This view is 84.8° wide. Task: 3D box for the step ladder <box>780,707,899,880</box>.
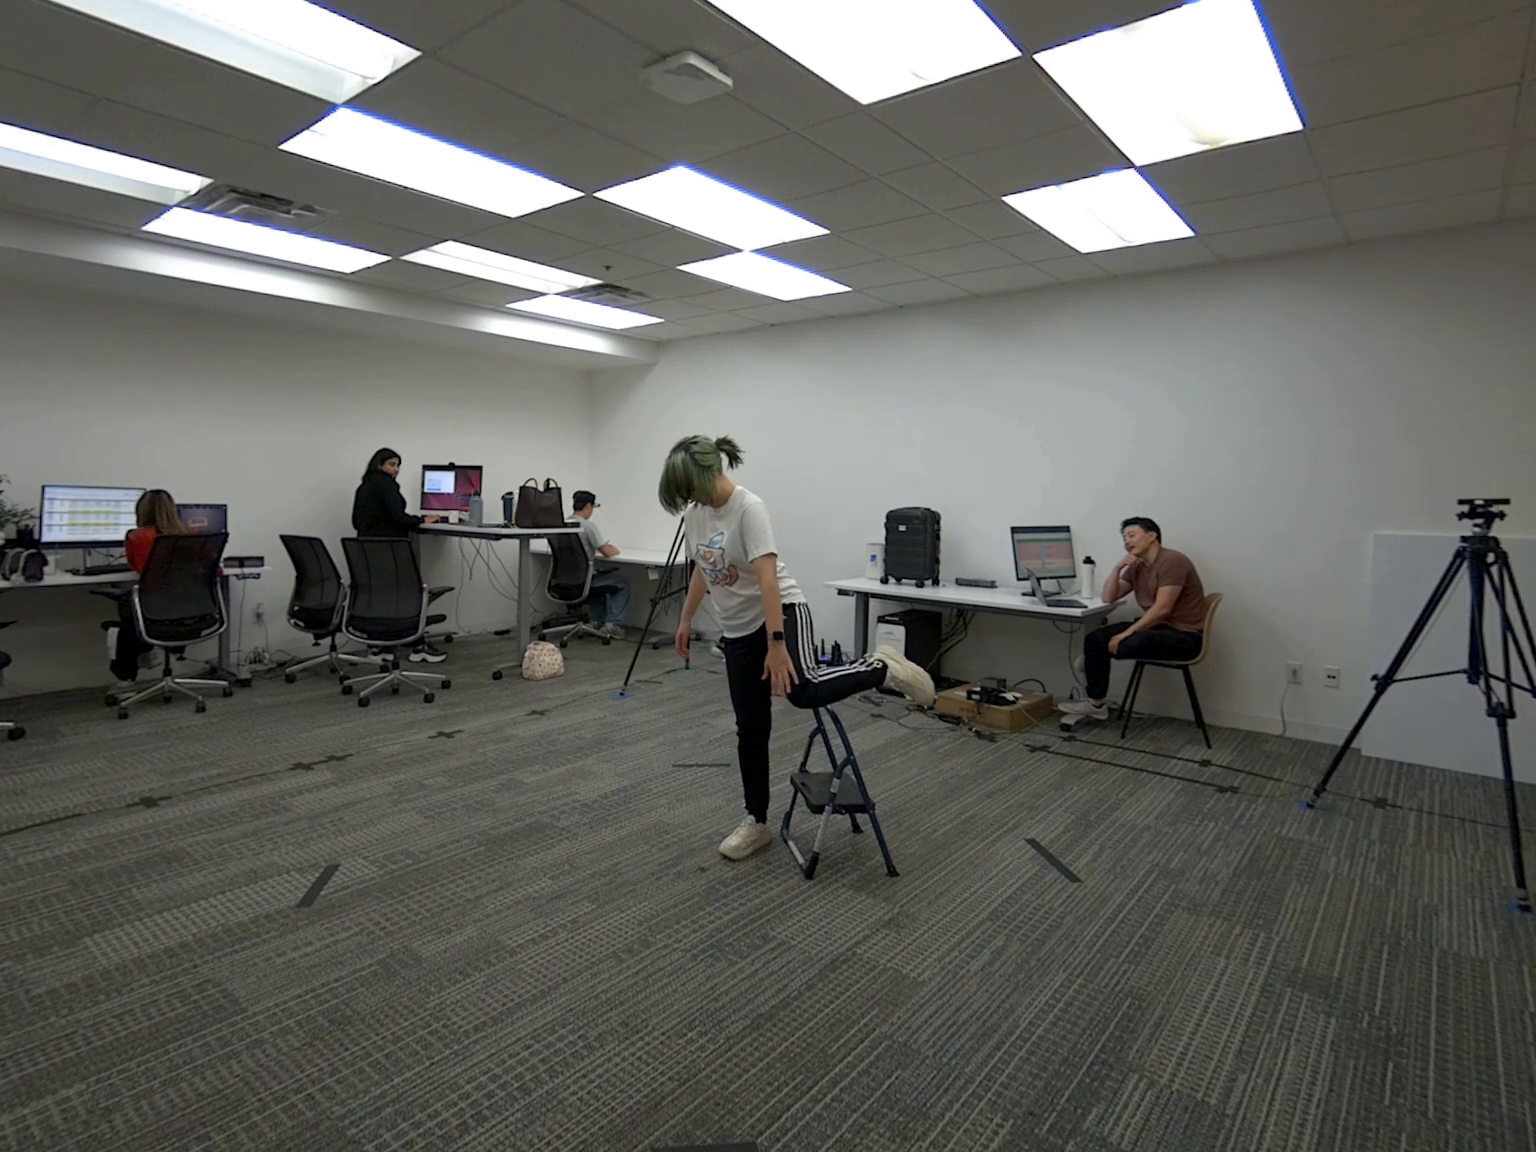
[{"bbox_3d":[0.263,0.766,3.252,0.345,0.605,0.437,1,3,-12],"label":"step ladder"}]
